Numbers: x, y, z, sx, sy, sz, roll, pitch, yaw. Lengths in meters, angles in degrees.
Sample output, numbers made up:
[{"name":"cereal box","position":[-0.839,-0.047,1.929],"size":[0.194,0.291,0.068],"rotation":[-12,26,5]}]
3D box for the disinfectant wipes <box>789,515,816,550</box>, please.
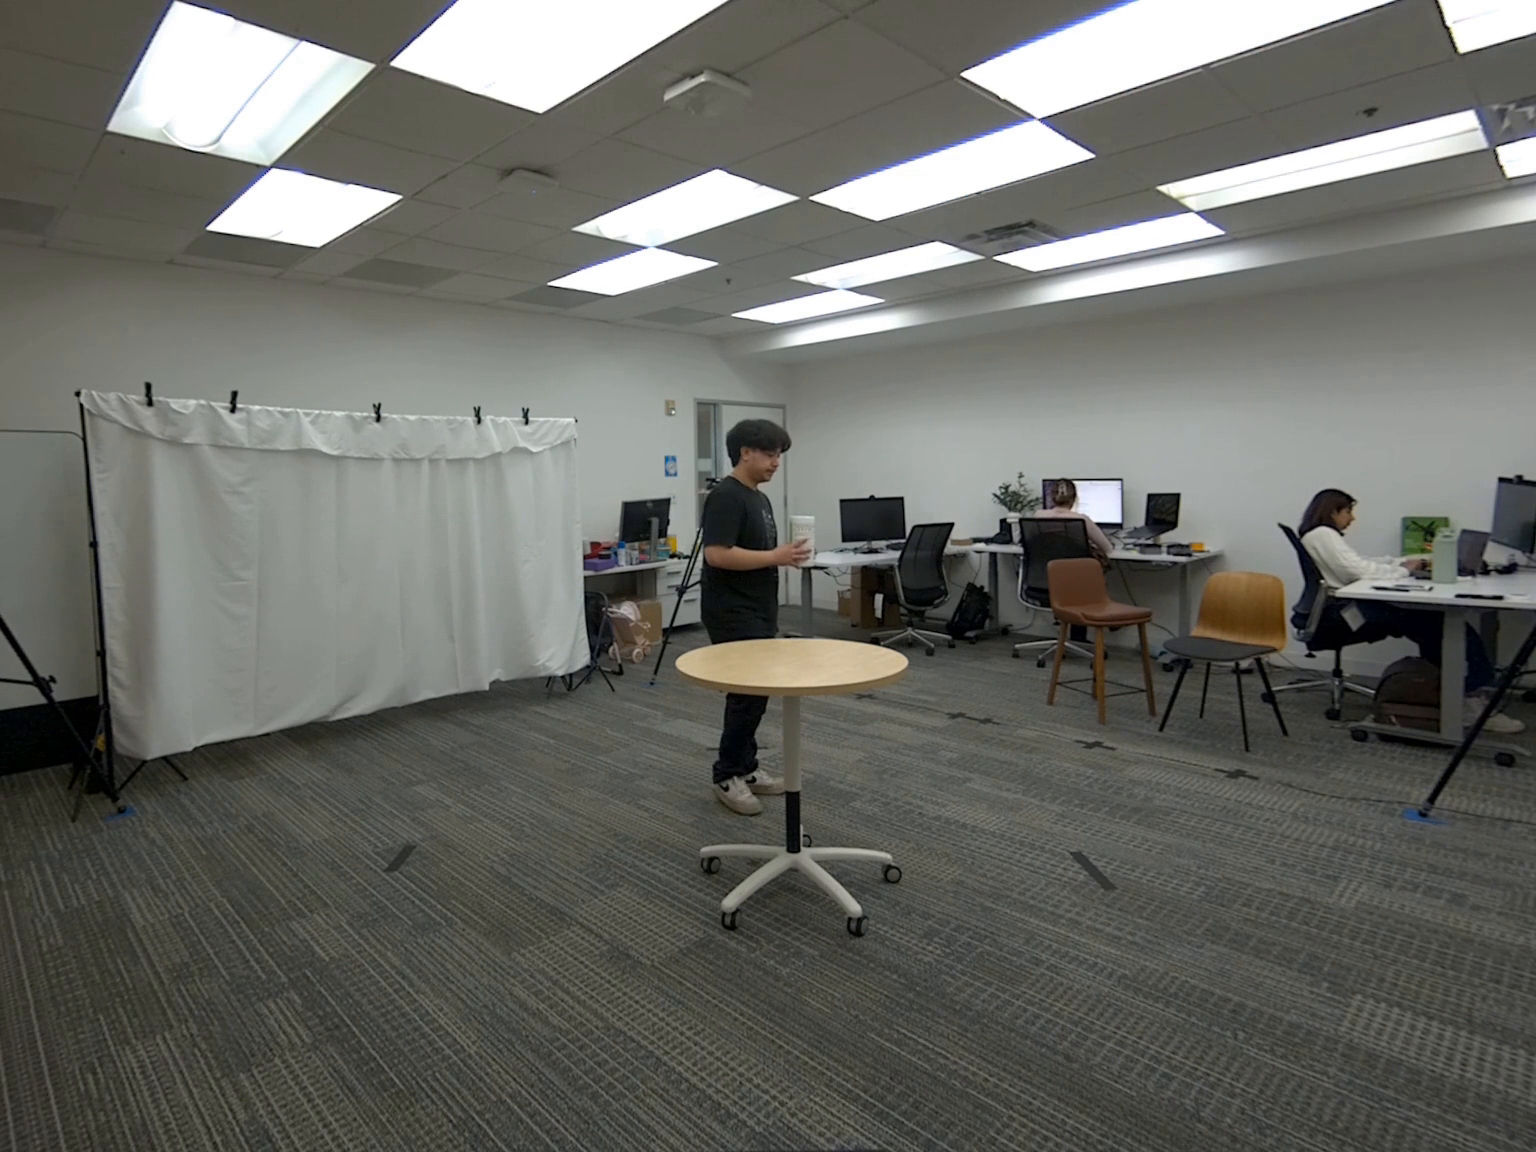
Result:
[{"name":"disinfectant wipes","position":[0.142,-0.148,3.652],"size":[0.118,0.217,0.118],"rotation":[2,4,-2]}]
